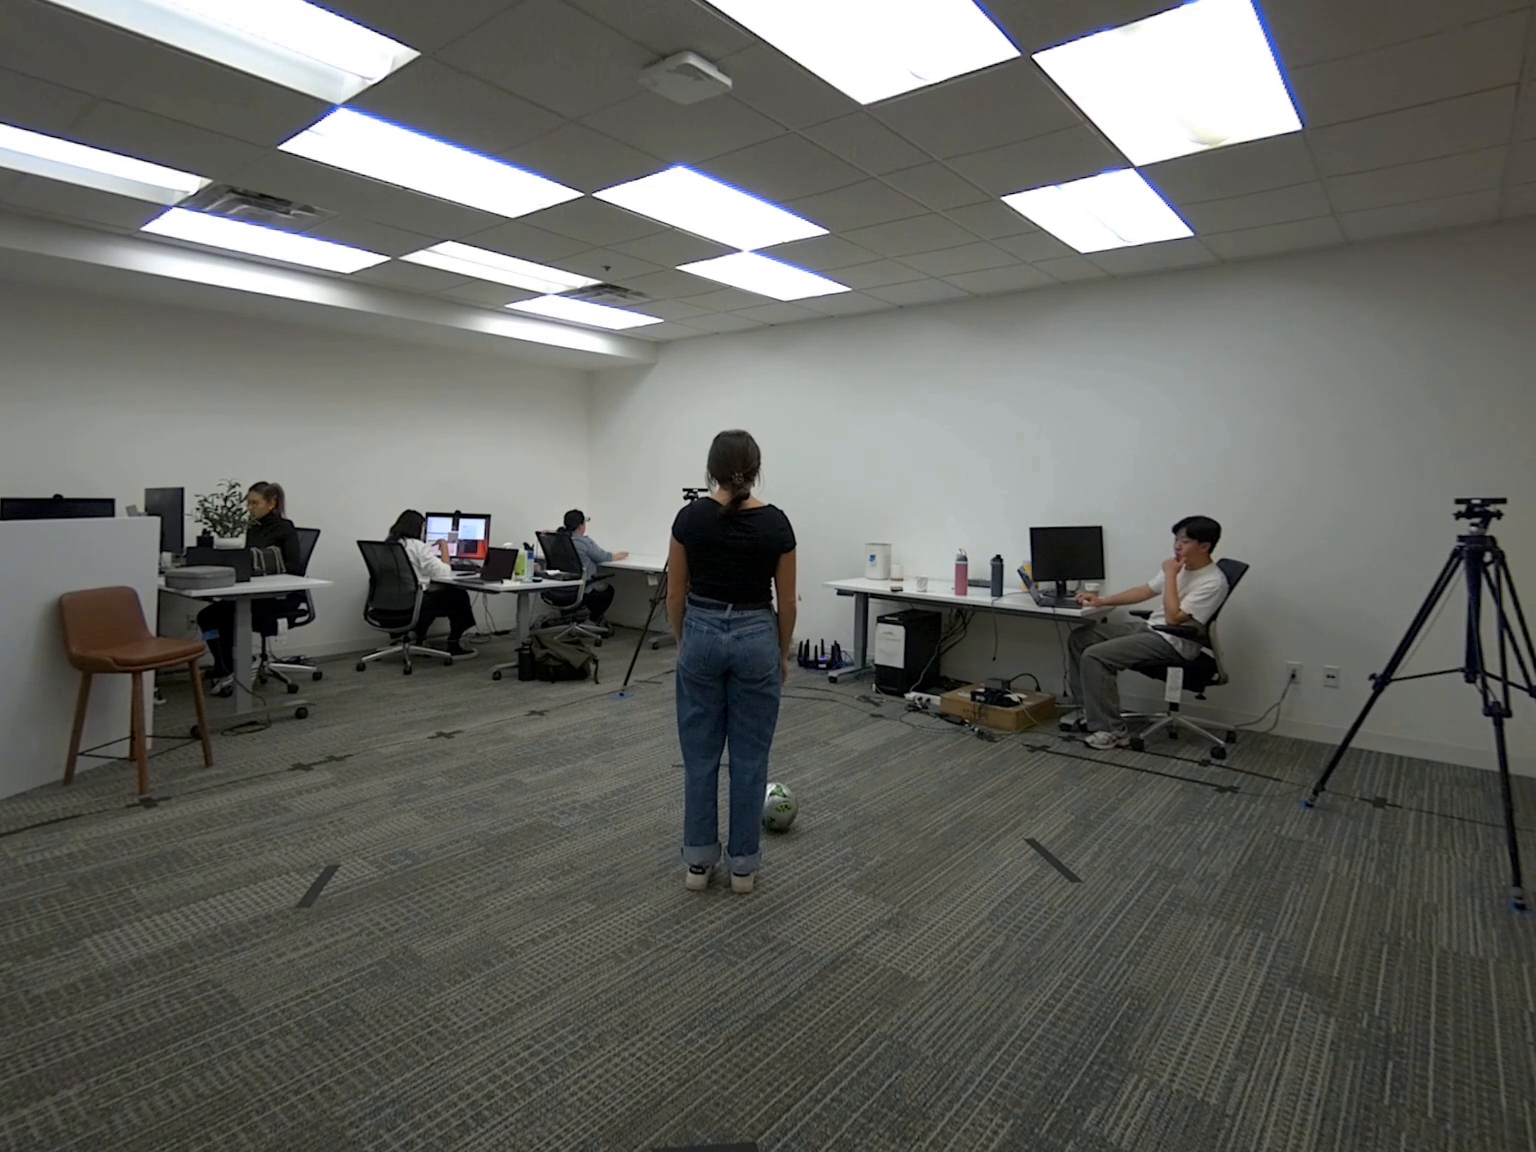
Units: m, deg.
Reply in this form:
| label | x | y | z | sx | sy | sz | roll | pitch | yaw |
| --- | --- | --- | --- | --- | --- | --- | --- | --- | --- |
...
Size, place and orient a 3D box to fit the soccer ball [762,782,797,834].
| label | x | y | z | sx | sy | sz | roll | pitch | yaw |
| --- | --- | --- | --- | --- | --- | --- | --- | --- | --- |
| soccer ball | 0.036 | 0.934 | 3.500 | 0.187 | 0.187 | 0.188 | 1 | 4 | -2 |
